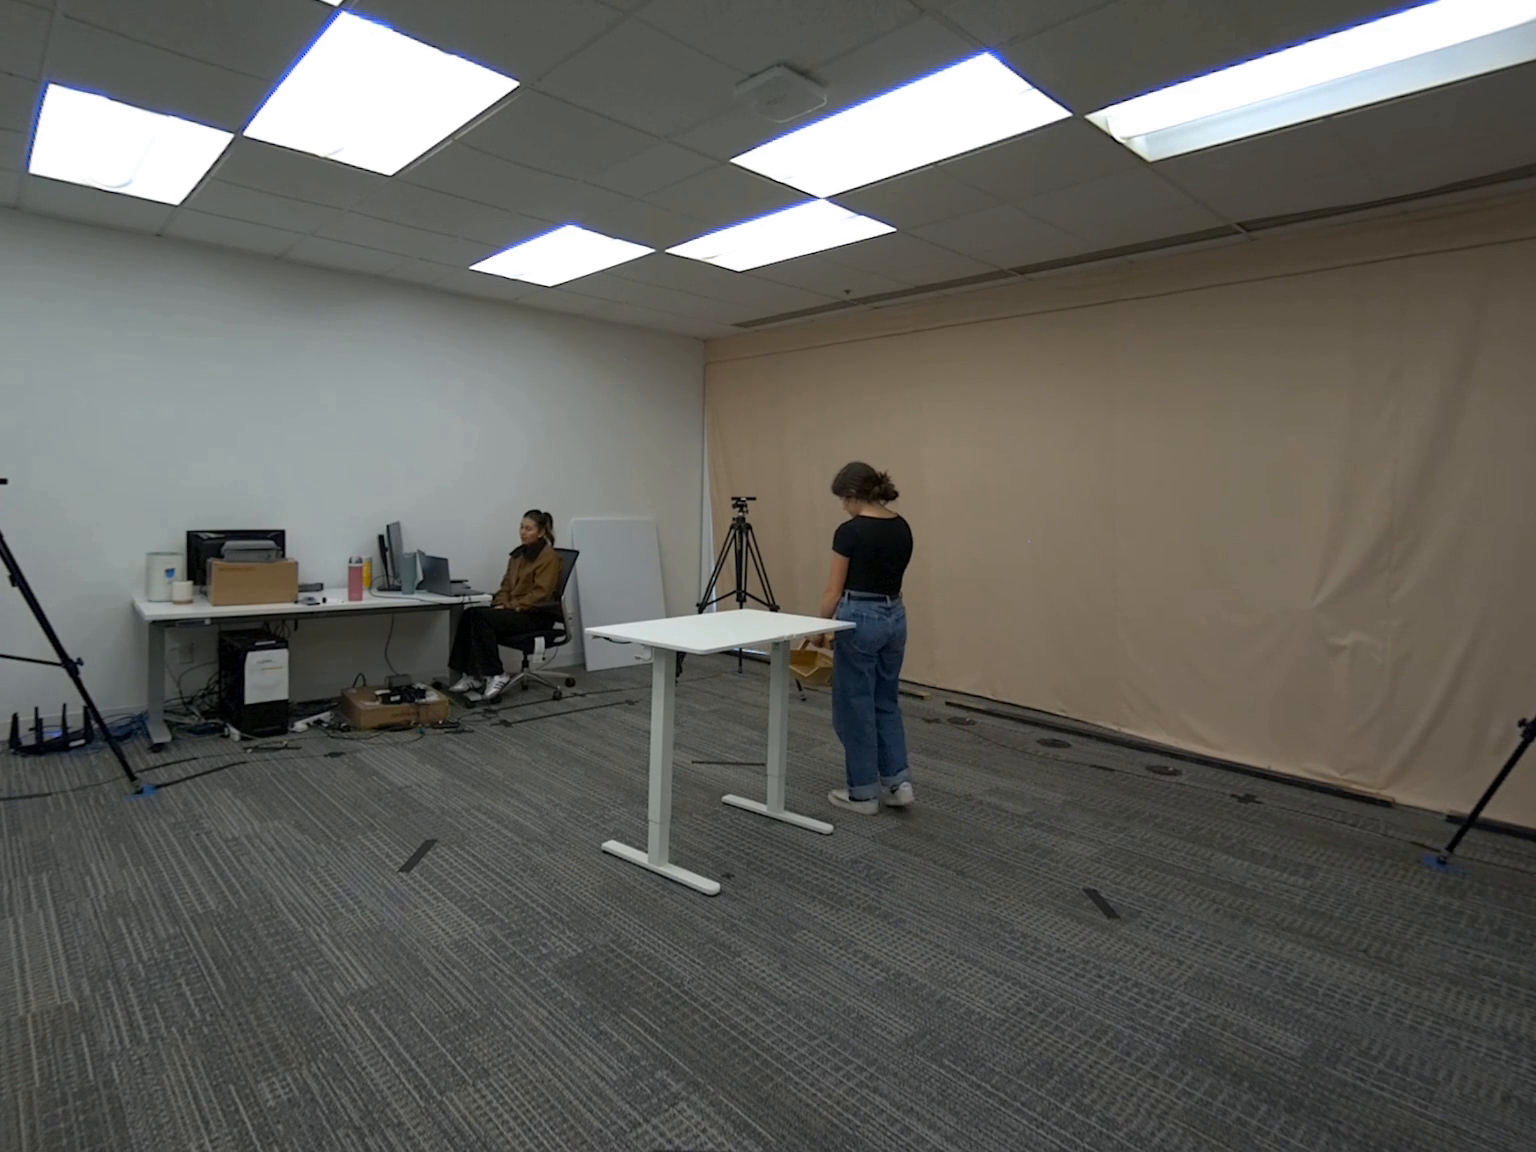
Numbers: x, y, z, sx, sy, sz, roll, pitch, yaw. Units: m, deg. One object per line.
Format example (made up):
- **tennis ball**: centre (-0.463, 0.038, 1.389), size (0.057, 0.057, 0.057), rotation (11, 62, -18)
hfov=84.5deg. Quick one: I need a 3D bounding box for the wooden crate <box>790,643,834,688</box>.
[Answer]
- **wooden crate**: centre (0.239, 0.347, 3.986), size (0.295, 0.272, 0.333), rotation (7, 8, -29)
